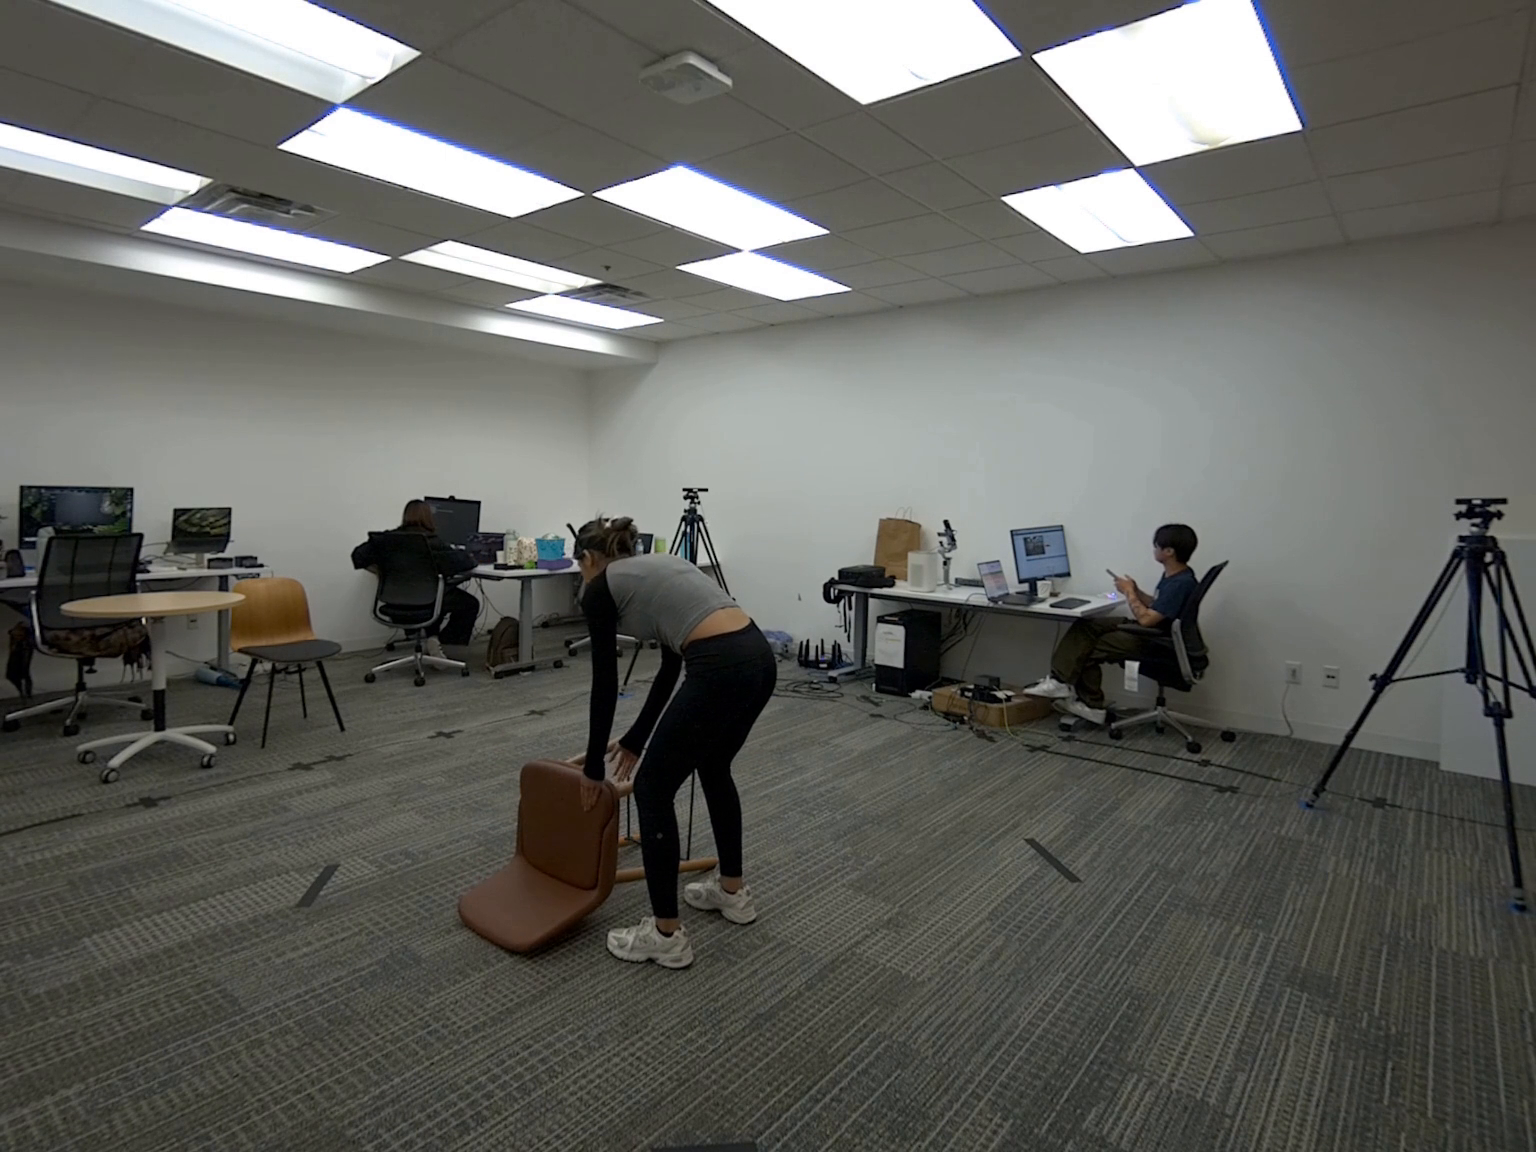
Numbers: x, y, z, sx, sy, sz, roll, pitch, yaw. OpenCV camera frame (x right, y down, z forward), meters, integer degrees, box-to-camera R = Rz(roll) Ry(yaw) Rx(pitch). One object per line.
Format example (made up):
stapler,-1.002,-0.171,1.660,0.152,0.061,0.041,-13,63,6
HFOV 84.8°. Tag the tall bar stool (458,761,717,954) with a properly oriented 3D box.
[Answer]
tall bar stool,-0.595,0.852,2.915,0.472,0.466,0.864,4,6,38
